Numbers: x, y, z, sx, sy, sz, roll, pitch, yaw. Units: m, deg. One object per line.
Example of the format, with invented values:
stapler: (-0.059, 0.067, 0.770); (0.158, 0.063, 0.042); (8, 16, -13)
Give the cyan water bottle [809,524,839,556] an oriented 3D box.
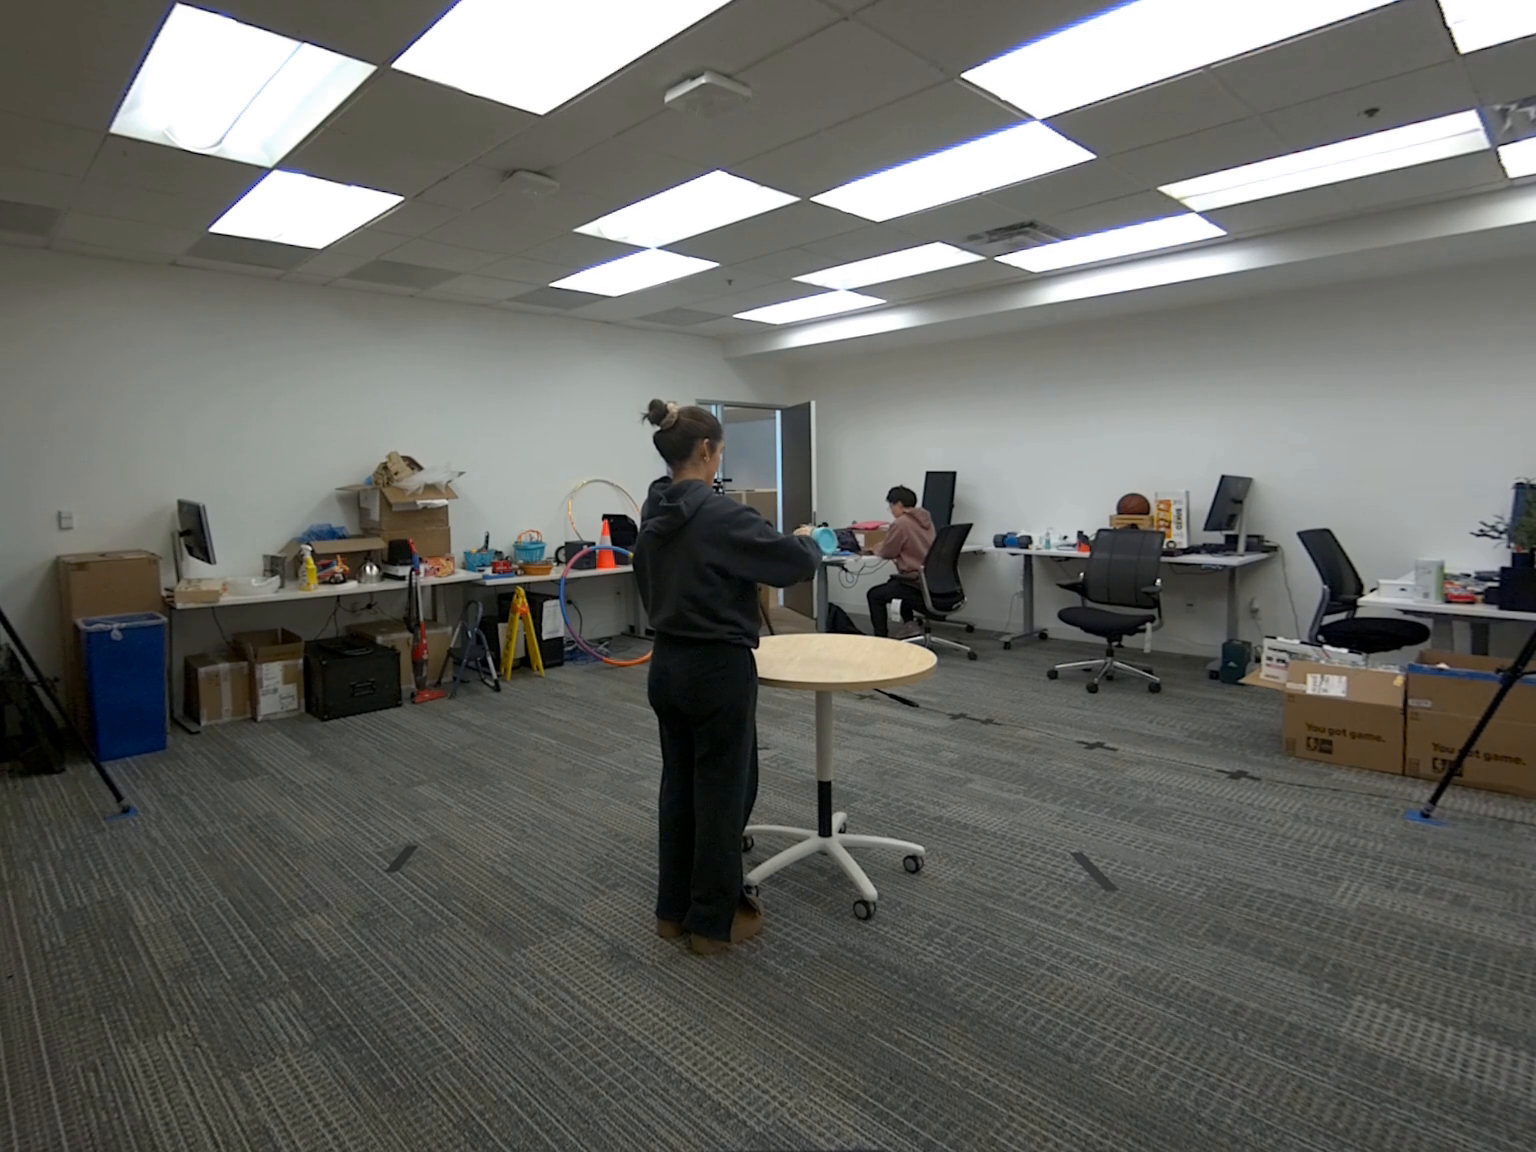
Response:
cyan water bottle: (0.090, -0.094, 2.767); (0.090, 0.093, 0.290); (-4, -4, -41)
